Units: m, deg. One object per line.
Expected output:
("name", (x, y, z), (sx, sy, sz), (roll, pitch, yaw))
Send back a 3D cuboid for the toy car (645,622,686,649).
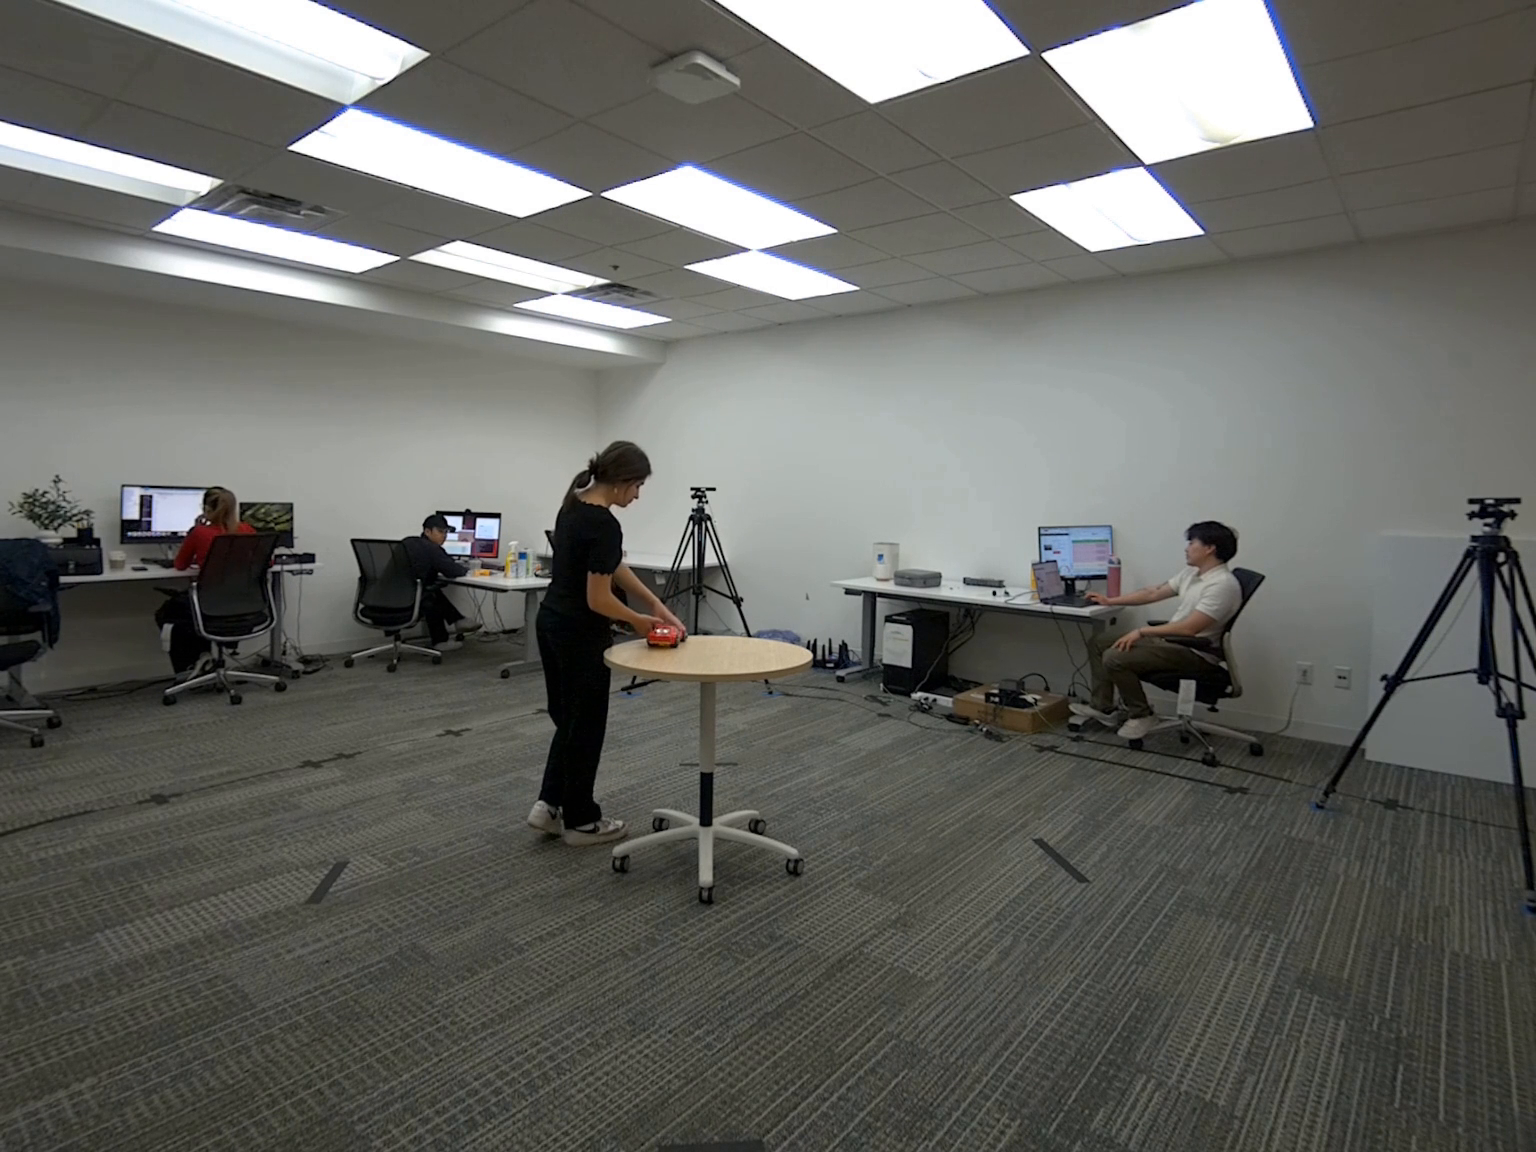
("toy car", (-0.405, 0.235, 3.281), (0.131, 0.084, 0.251), (2, -6, 6))
